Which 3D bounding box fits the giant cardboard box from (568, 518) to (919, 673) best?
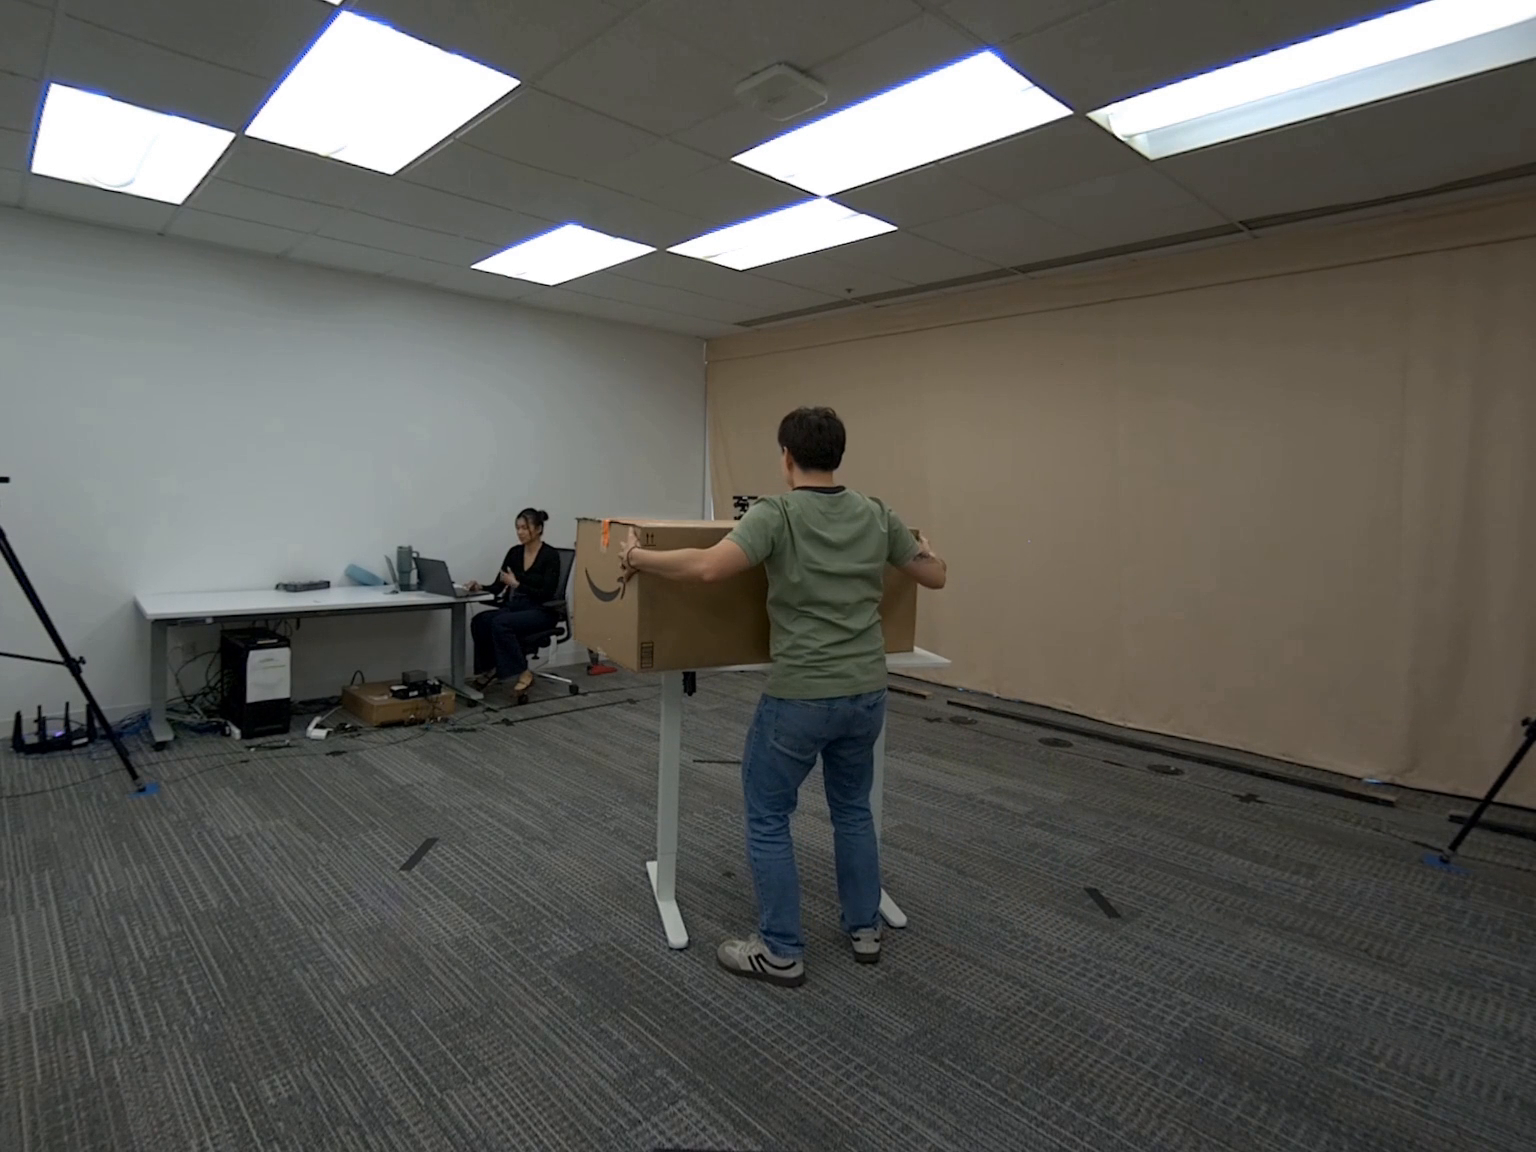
[{"bbox_3d":[-0.078,0.029,2.875,1.006,0.425,0.591,-1,6,-29],"label":"giant cardboard box"}]
